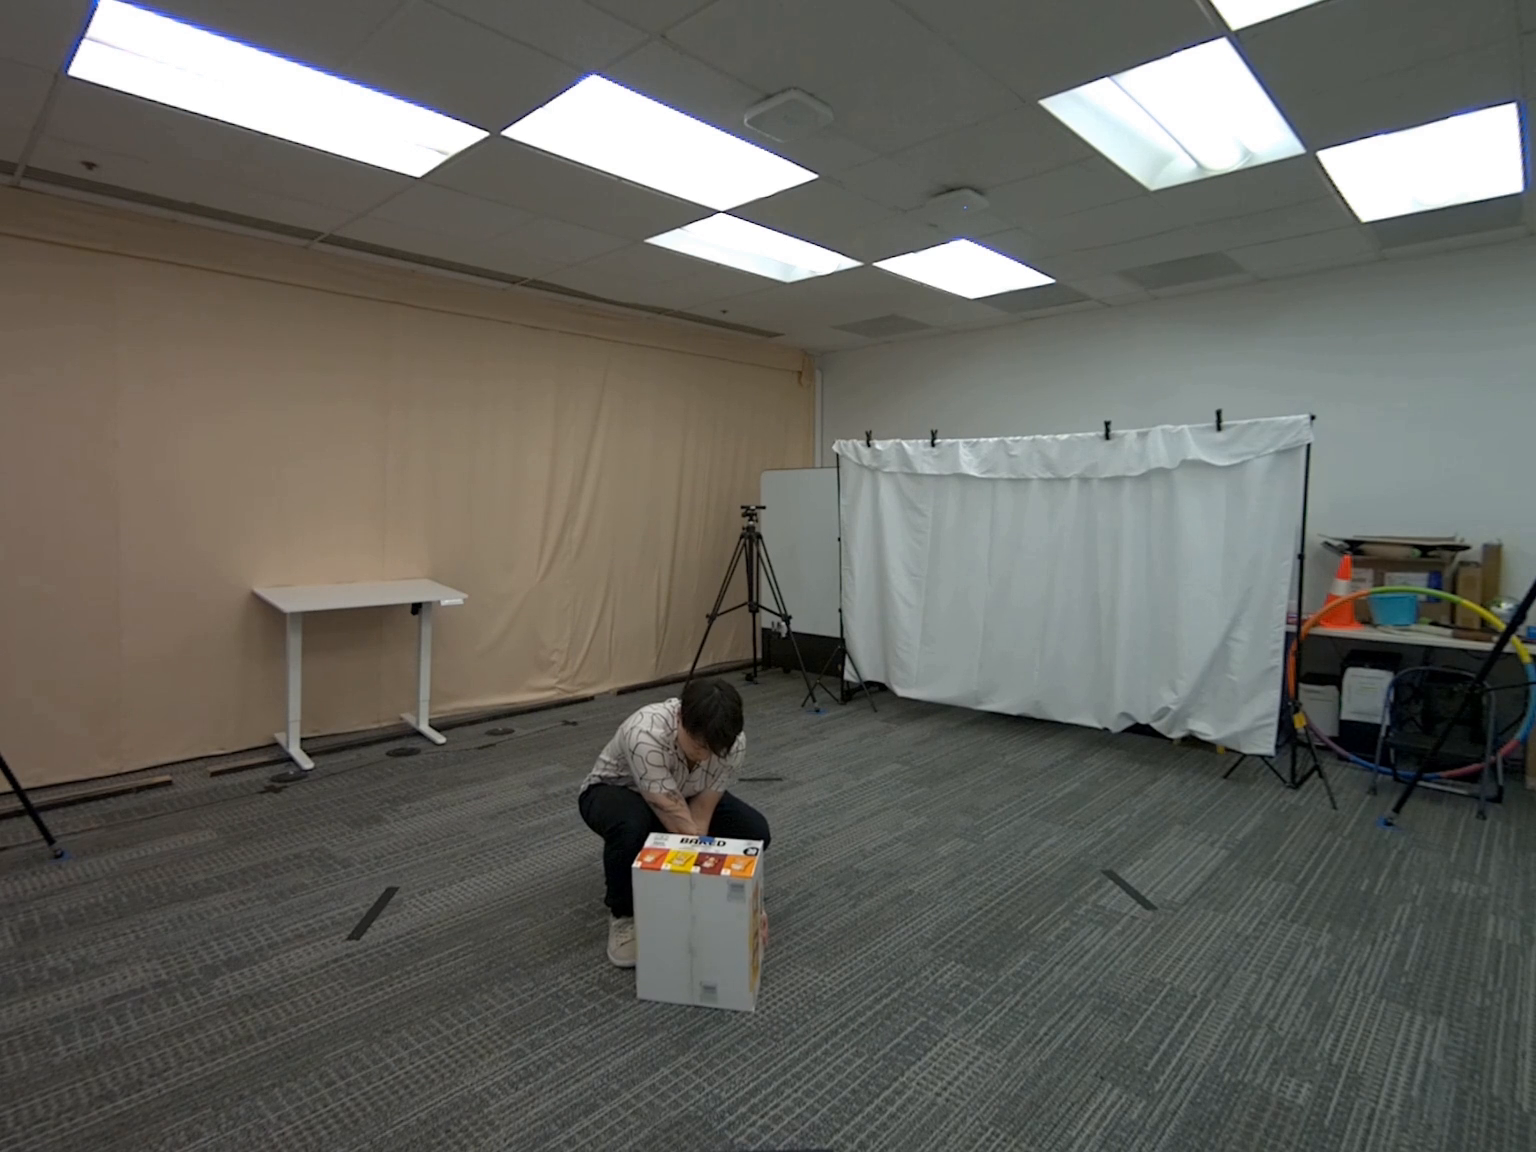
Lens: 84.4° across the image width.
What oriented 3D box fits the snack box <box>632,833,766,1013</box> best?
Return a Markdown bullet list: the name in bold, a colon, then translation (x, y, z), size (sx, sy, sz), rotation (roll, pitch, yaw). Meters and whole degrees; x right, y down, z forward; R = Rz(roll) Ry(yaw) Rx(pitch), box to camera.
- **snack box**: translation (-0.194, 0.978, 2.411), size (0.345, 0.403, 0.204), rotation (1, 9, 11)
